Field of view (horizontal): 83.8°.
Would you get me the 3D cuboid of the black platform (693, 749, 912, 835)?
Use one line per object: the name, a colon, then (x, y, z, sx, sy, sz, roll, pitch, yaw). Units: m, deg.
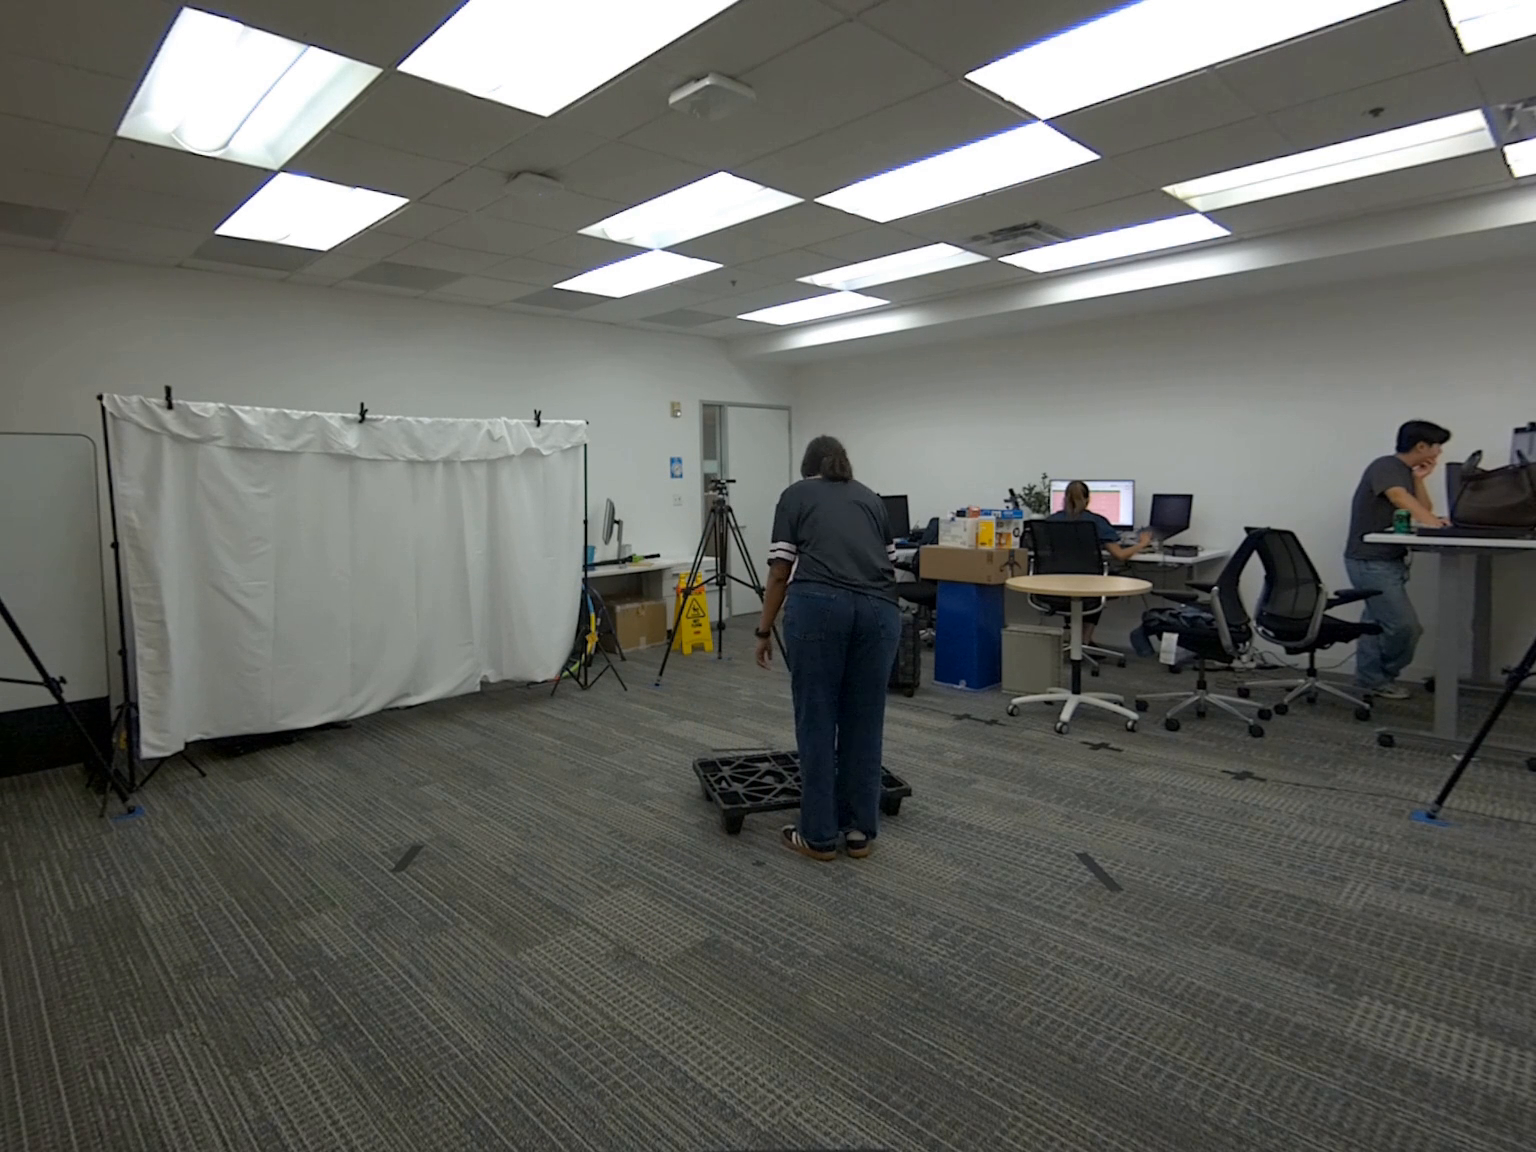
black platform: (0.125, 0.909, 3.666, 0.795, 0.142, 0.616, -3, 7, -14)
